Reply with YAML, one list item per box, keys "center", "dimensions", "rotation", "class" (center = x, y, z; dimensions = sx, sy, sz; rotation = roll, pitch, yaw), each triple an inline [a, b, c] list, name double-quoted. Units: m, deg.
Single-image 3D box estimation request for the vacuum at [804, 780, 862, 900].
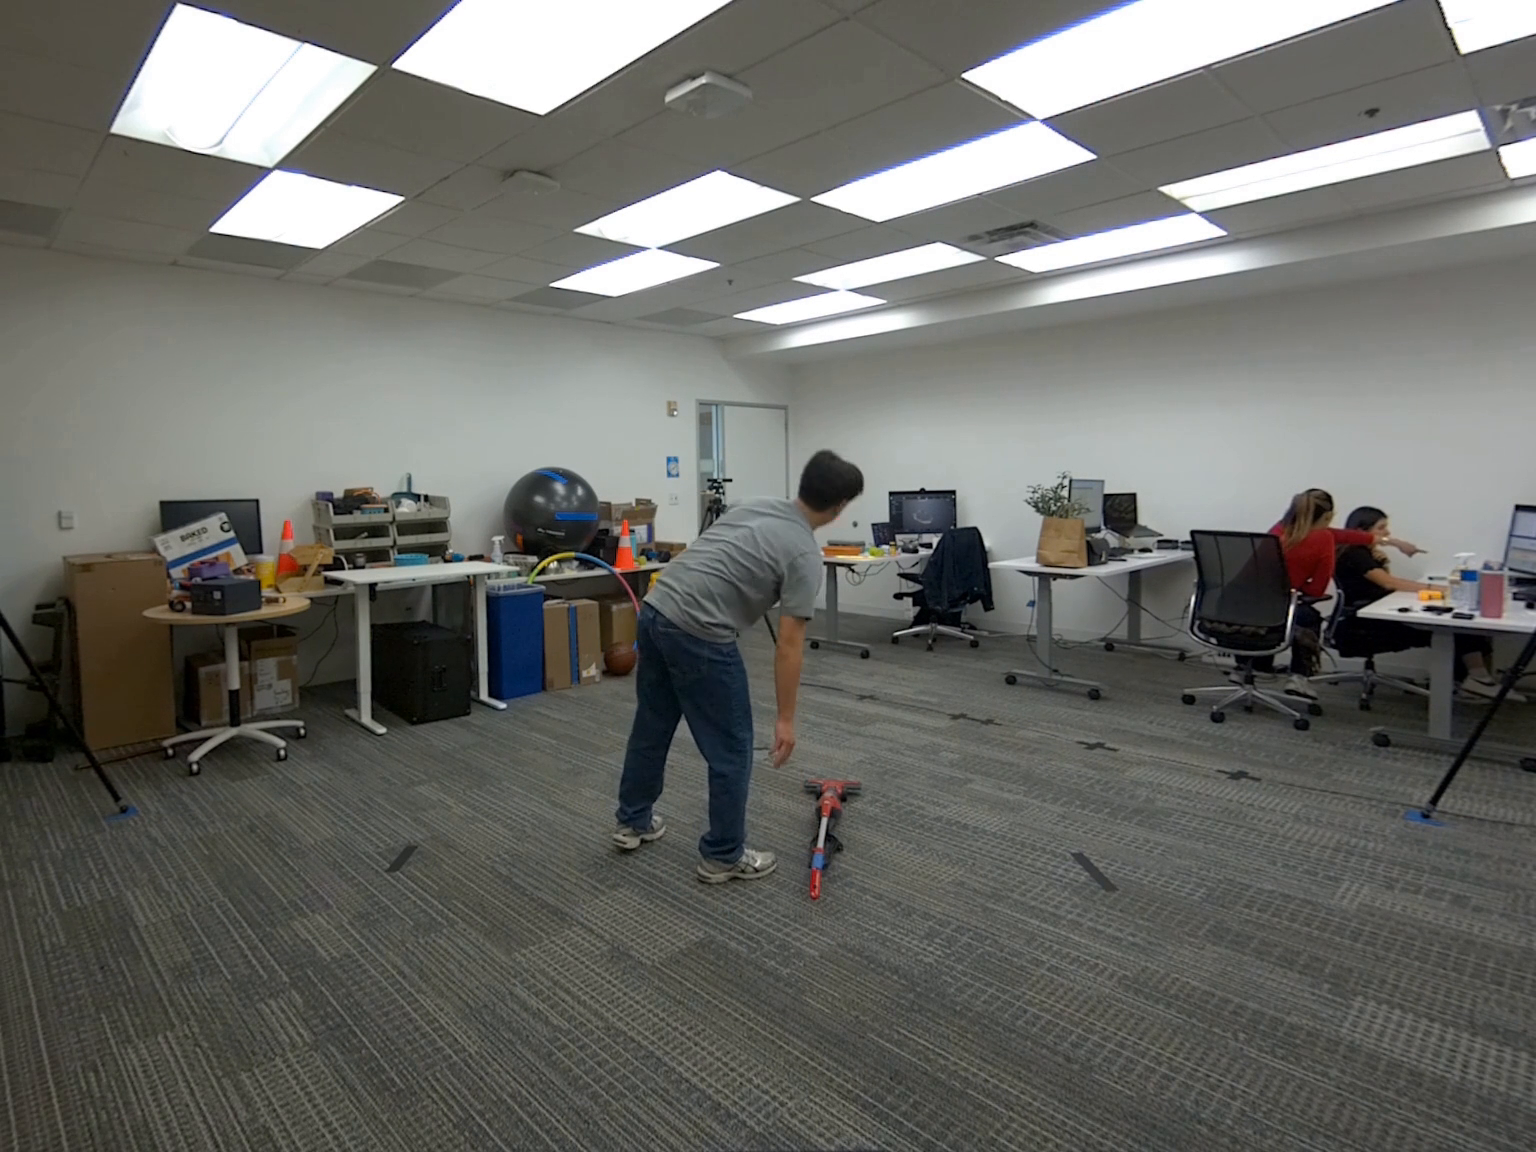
- center: [0.215, 0.970, 3.221]
  dimensions: [0.255, 0.143, 1.043]
  rotation: [8, 6, 6]
  class: "vacuum"
